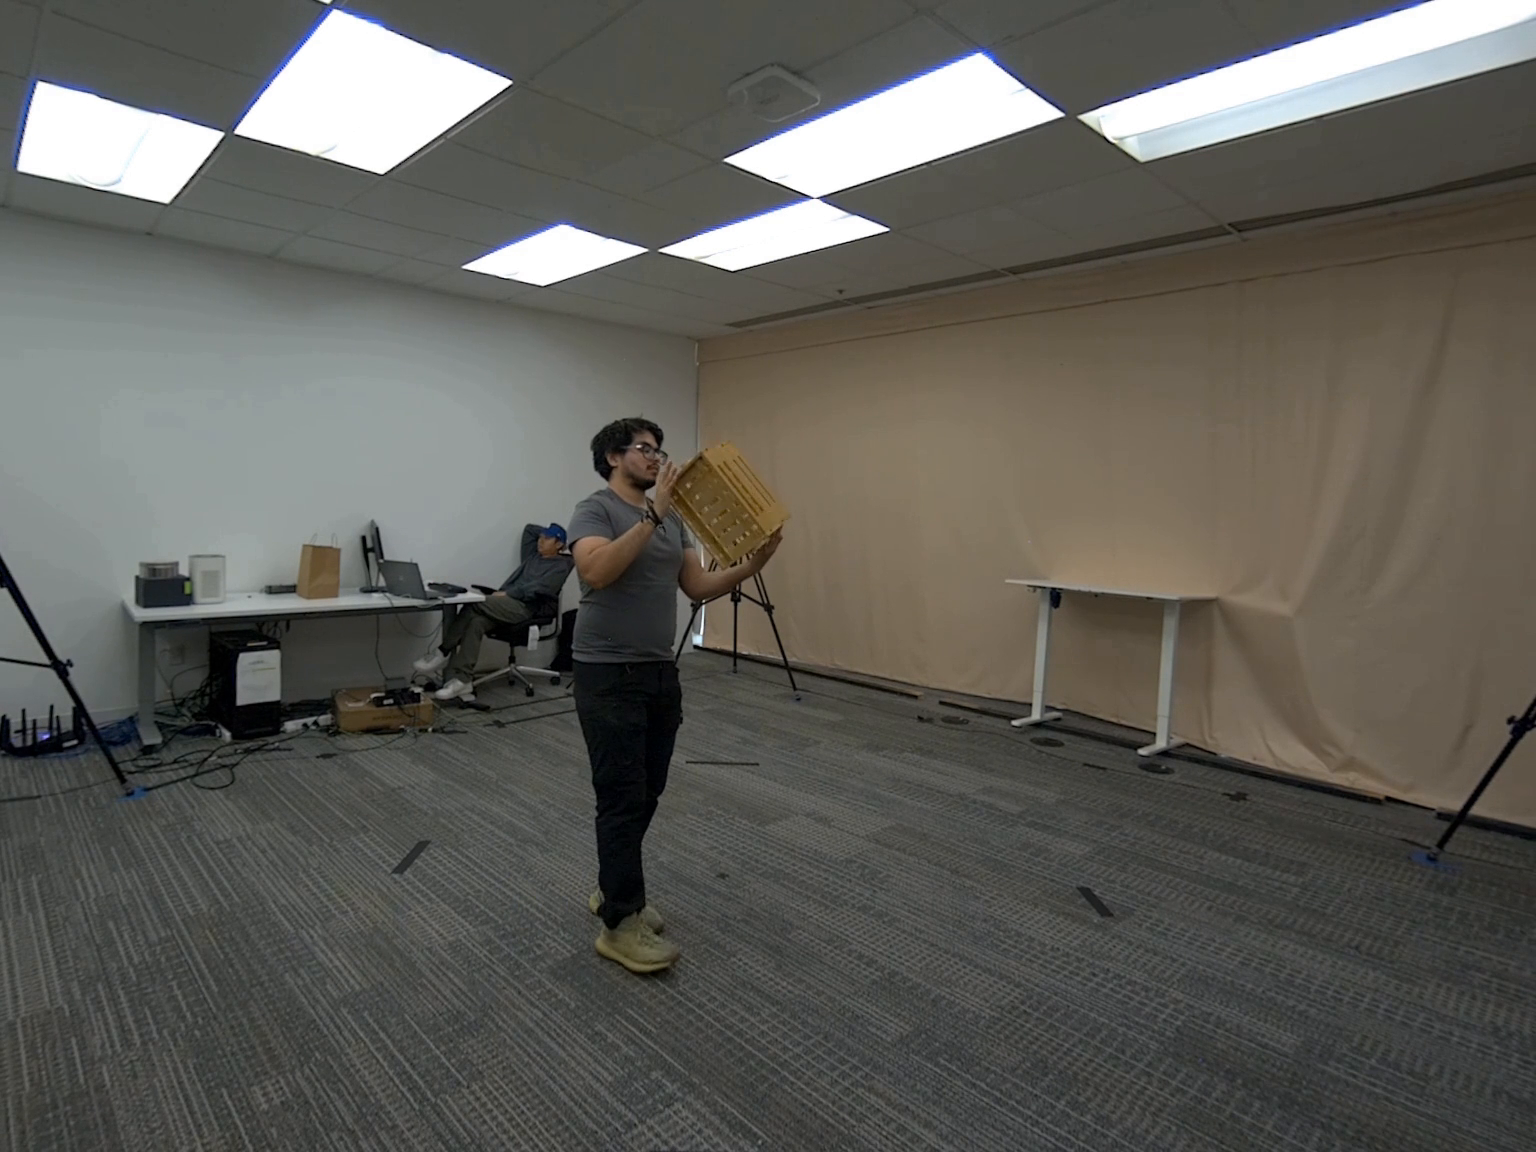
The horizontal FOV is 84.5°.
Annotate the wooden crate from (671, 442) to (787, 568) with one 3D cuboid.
[{"bbox_3d":[-0.105,-0.234,2.504,0.304,0.324,0.272,-36,2,44],"label":"wooden crate"}]
